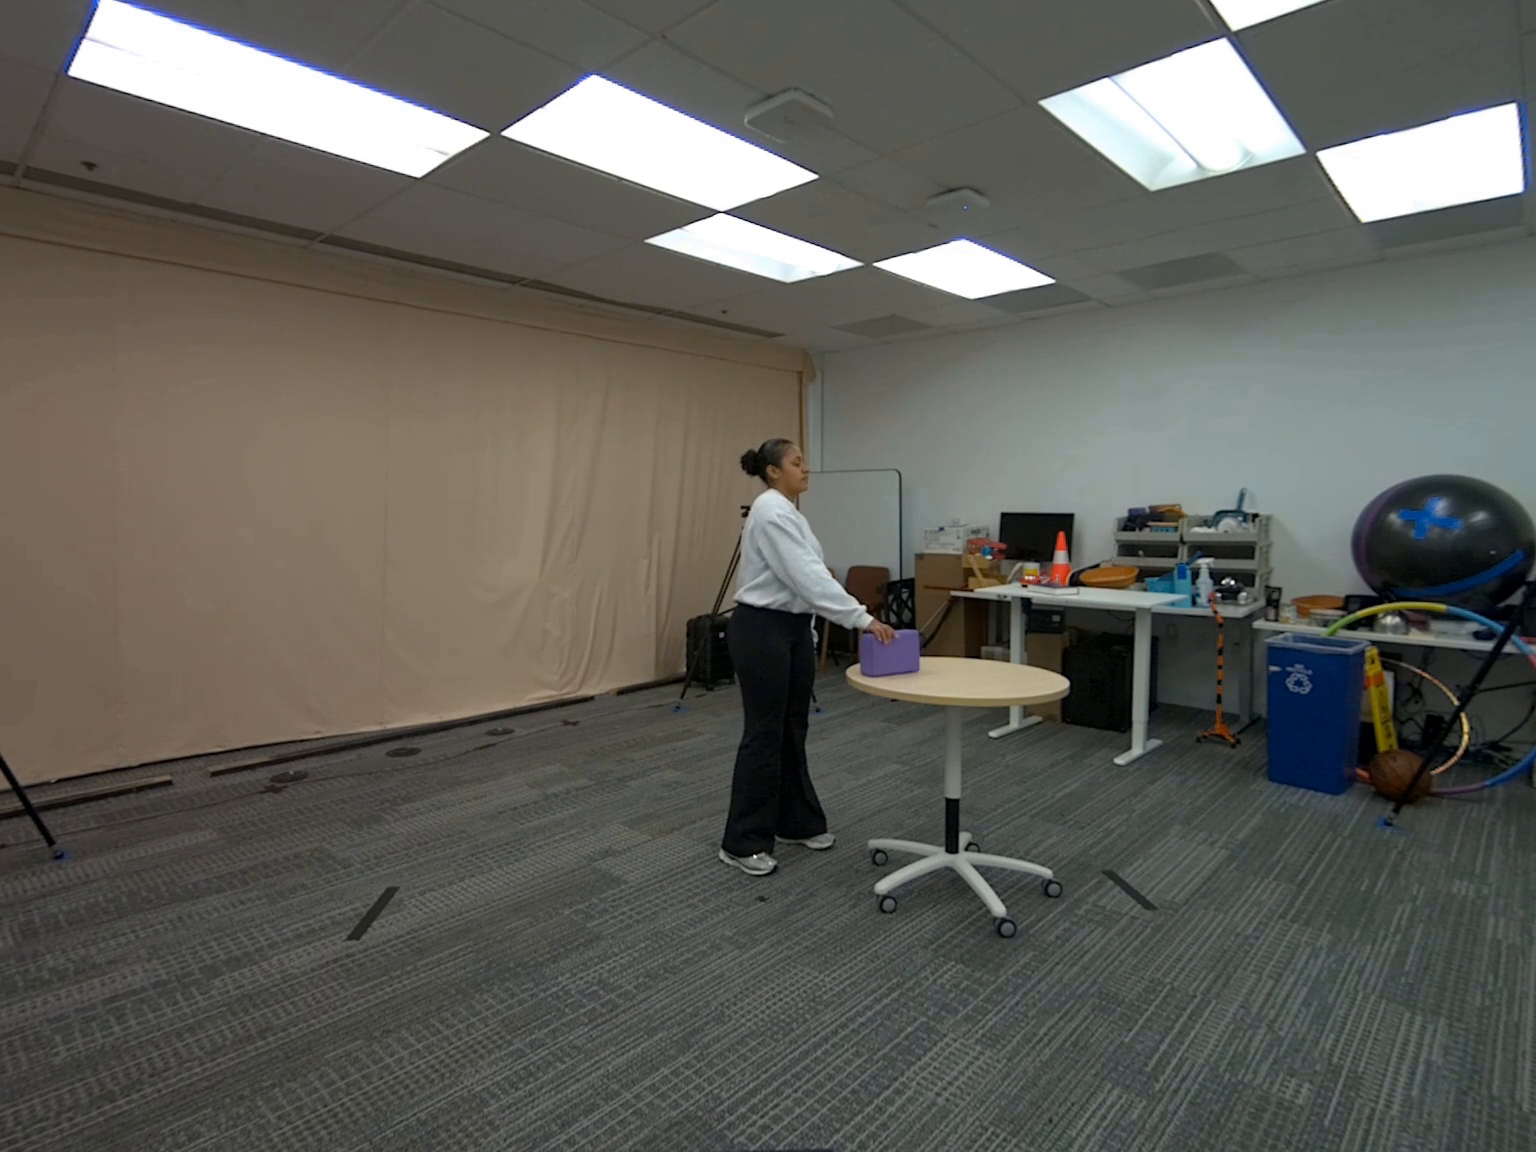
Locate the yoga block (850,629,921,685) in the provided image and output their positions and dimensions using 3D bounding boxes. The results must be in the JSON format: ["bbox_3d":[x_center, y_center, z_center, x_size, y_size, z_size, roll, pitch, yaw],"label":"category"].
[{"bbox_3d":[0.442,0.274,3.050,0.223,0.149,0.078,-2,1,-28],"label":"yoga block"}]
